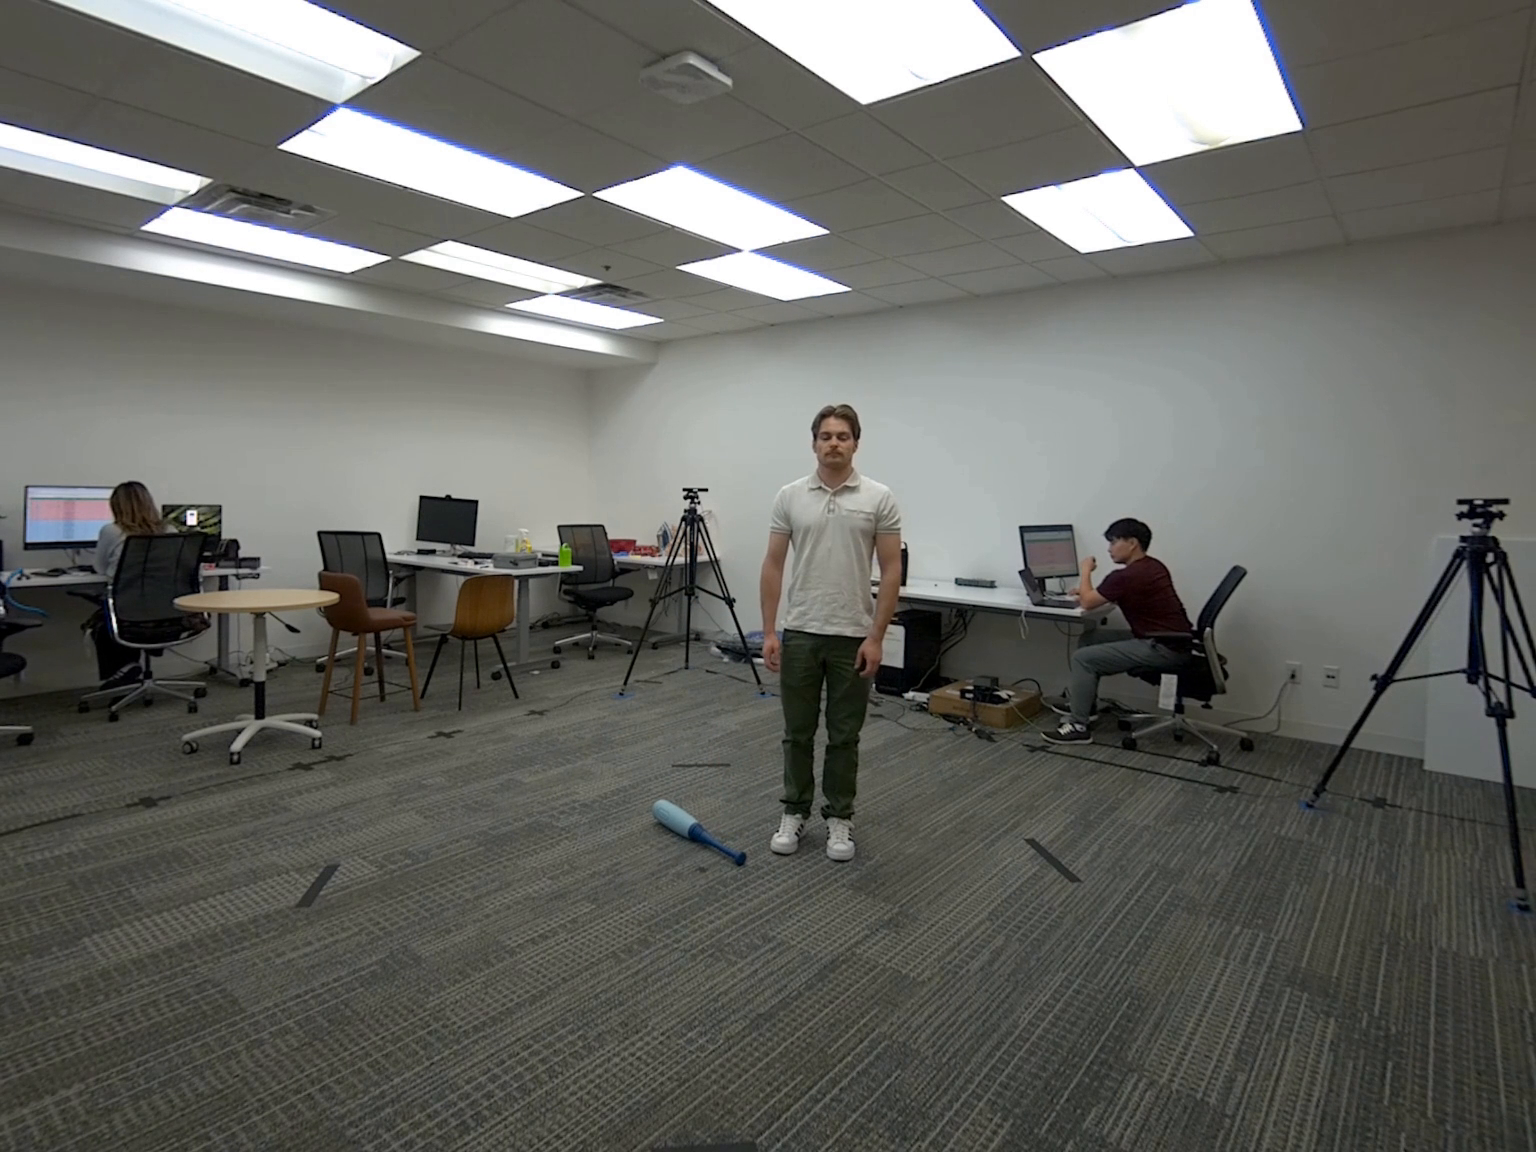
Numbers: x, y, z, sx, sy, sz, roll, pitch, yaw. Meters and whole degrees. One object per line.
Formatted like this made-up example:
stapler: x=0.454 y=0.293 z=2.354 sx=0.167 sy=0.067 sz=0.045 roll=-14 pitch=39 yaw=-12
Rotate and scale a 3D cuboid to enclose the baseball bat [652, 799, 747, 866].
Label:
baseball bat: x=-0.279 y=1.008 z=3.352 sx=0.086 sy=0.088 sz=0.563 roll=-3 pitch=10 yaw=-41
